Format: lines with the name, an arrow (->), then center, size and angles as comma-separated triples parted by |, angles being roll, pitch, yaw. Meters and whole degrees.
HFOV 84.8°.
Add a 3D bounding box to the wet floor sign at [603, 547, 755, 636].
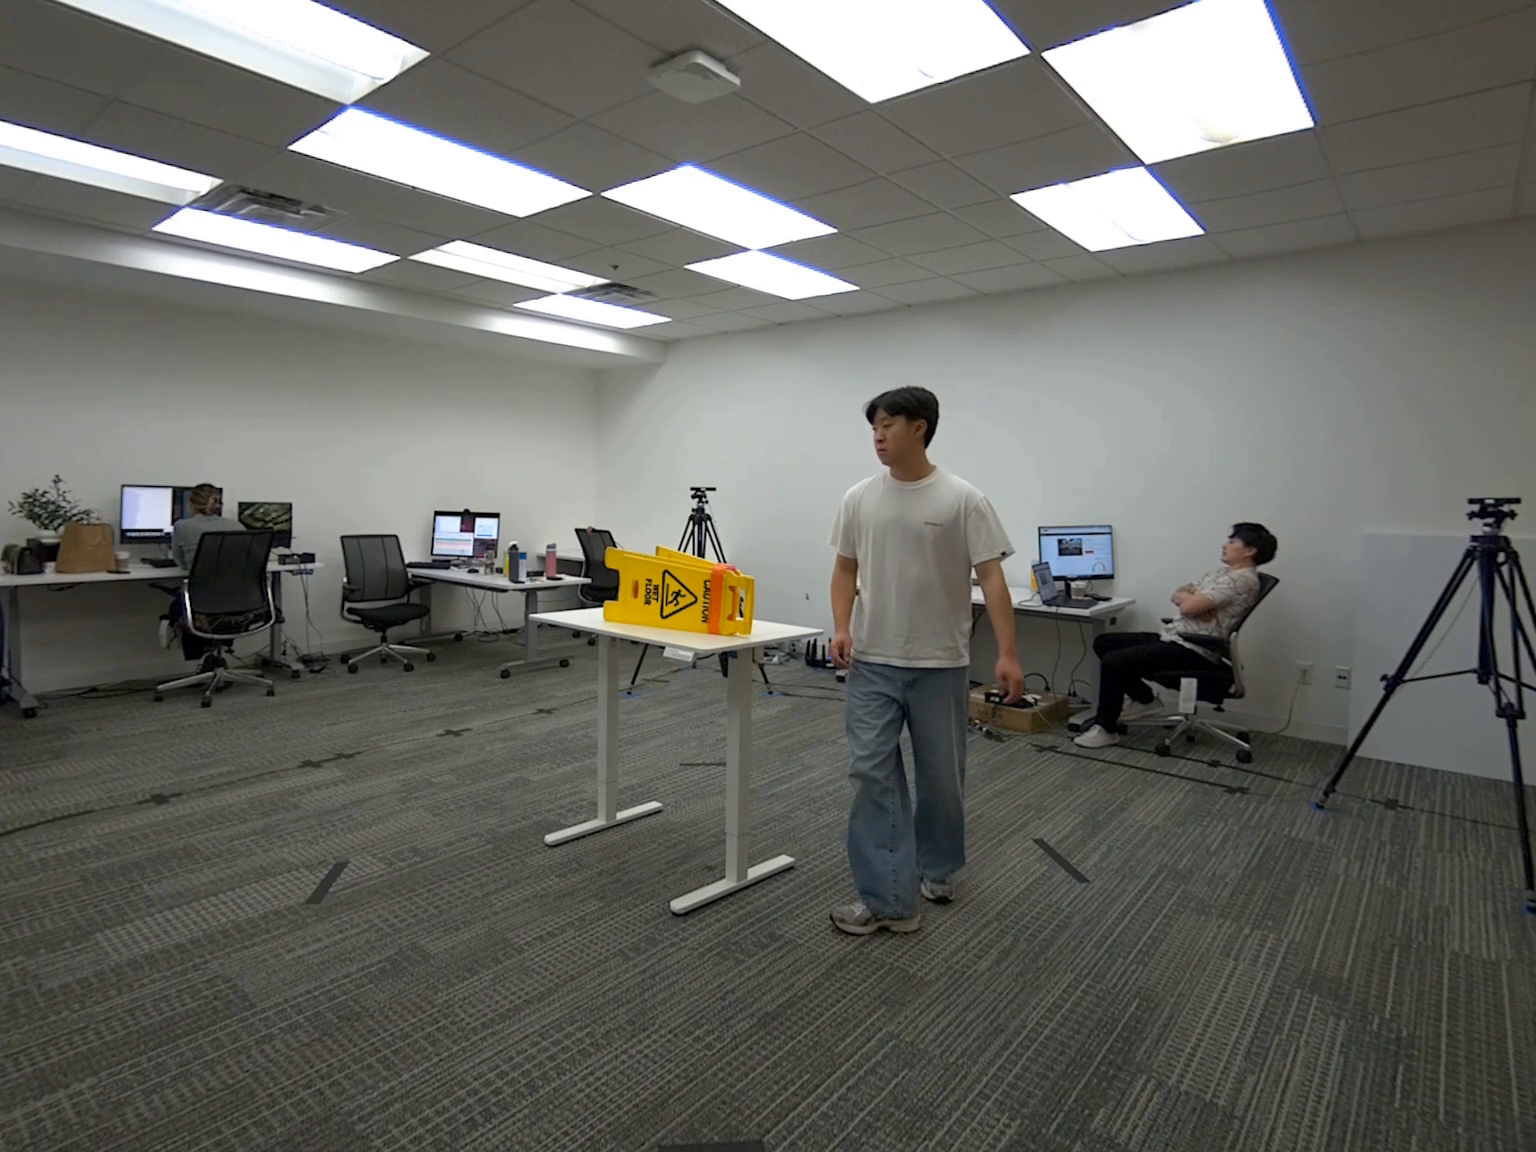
wet floor sign -> -0.302, 0.061, 3.069 | 0.669, 0.281, 0.281 | 9, 8, 43
